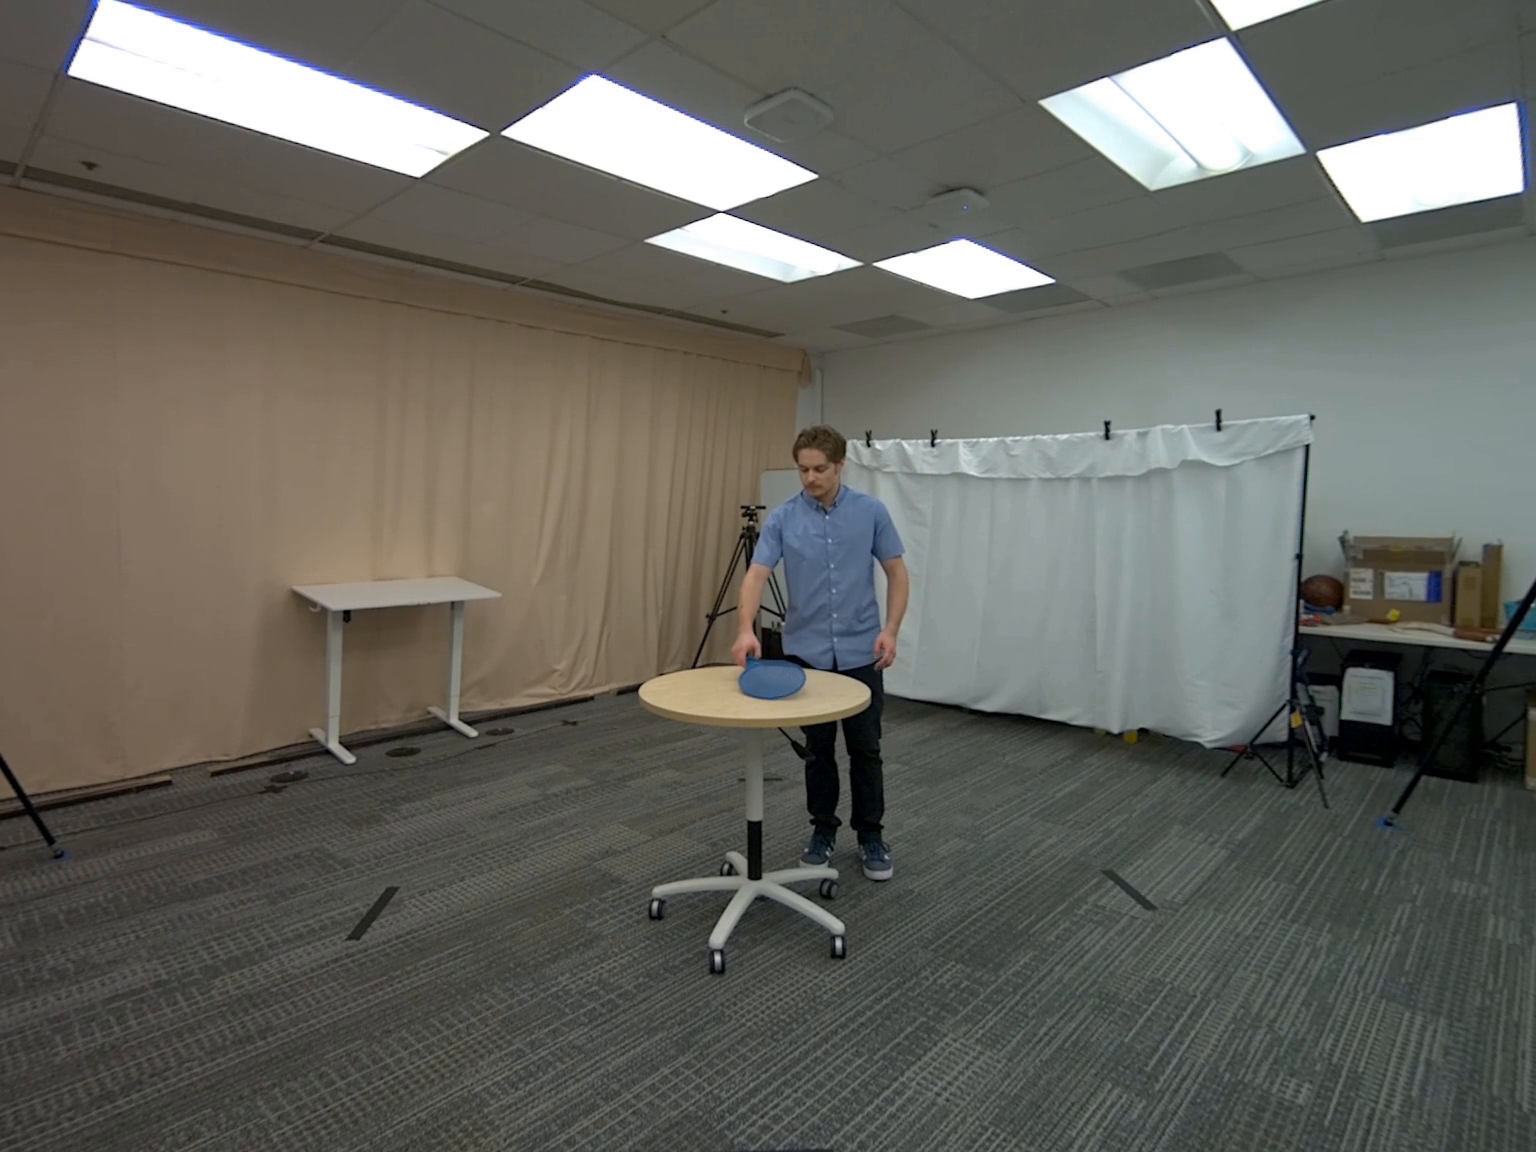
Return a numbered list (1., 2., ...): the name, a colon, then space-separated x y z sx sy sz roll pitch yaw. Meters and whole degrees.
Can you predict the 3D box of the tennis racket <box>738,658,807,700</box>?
1. tennis racket: -0.006 0.322 2.827 0.211 0.031 0.445 -17 18 -18
